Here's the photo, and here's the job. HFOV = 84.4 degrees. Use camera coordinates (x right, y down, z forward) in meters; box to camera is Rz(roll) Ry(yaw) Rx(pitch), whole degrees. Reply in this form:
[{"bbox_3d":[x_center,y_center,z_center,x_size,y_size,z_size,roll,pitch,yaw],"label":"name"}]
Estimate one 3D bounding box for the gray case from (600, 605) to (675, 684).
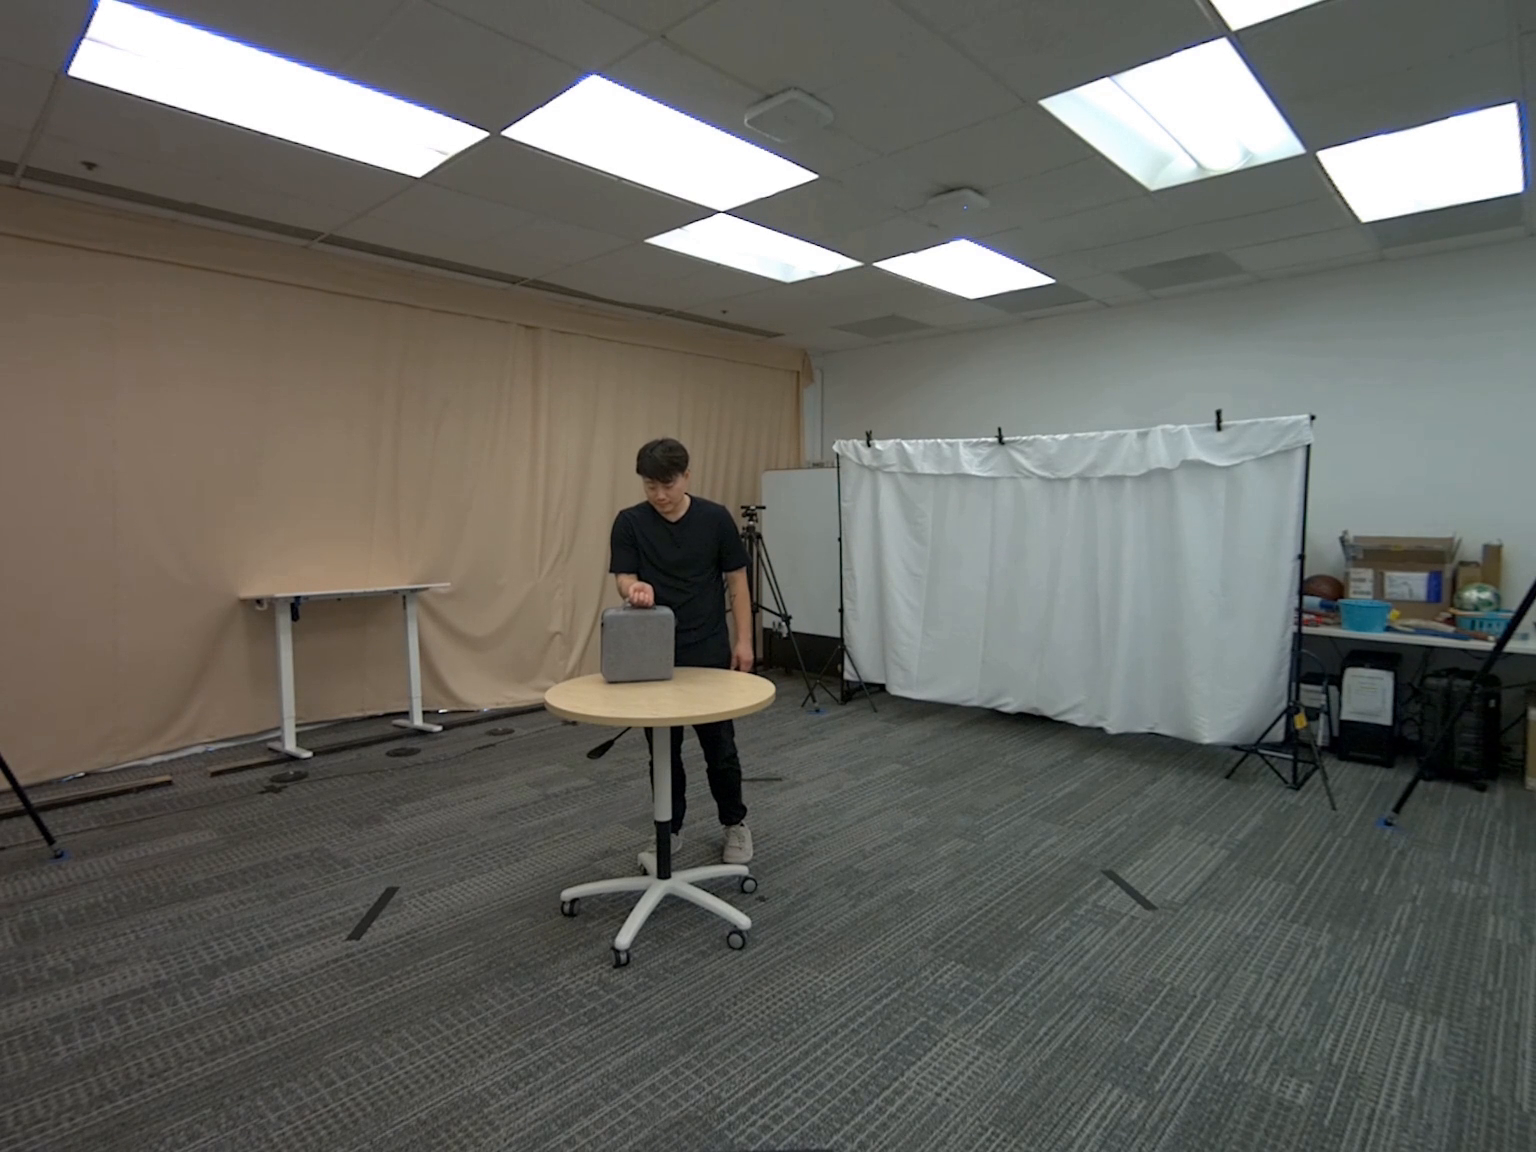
[{"bbox_3d":[-0.455,0.232,2.955,0.253,0.259,0.106,-1,8,-12],"label":"gray case"}]
